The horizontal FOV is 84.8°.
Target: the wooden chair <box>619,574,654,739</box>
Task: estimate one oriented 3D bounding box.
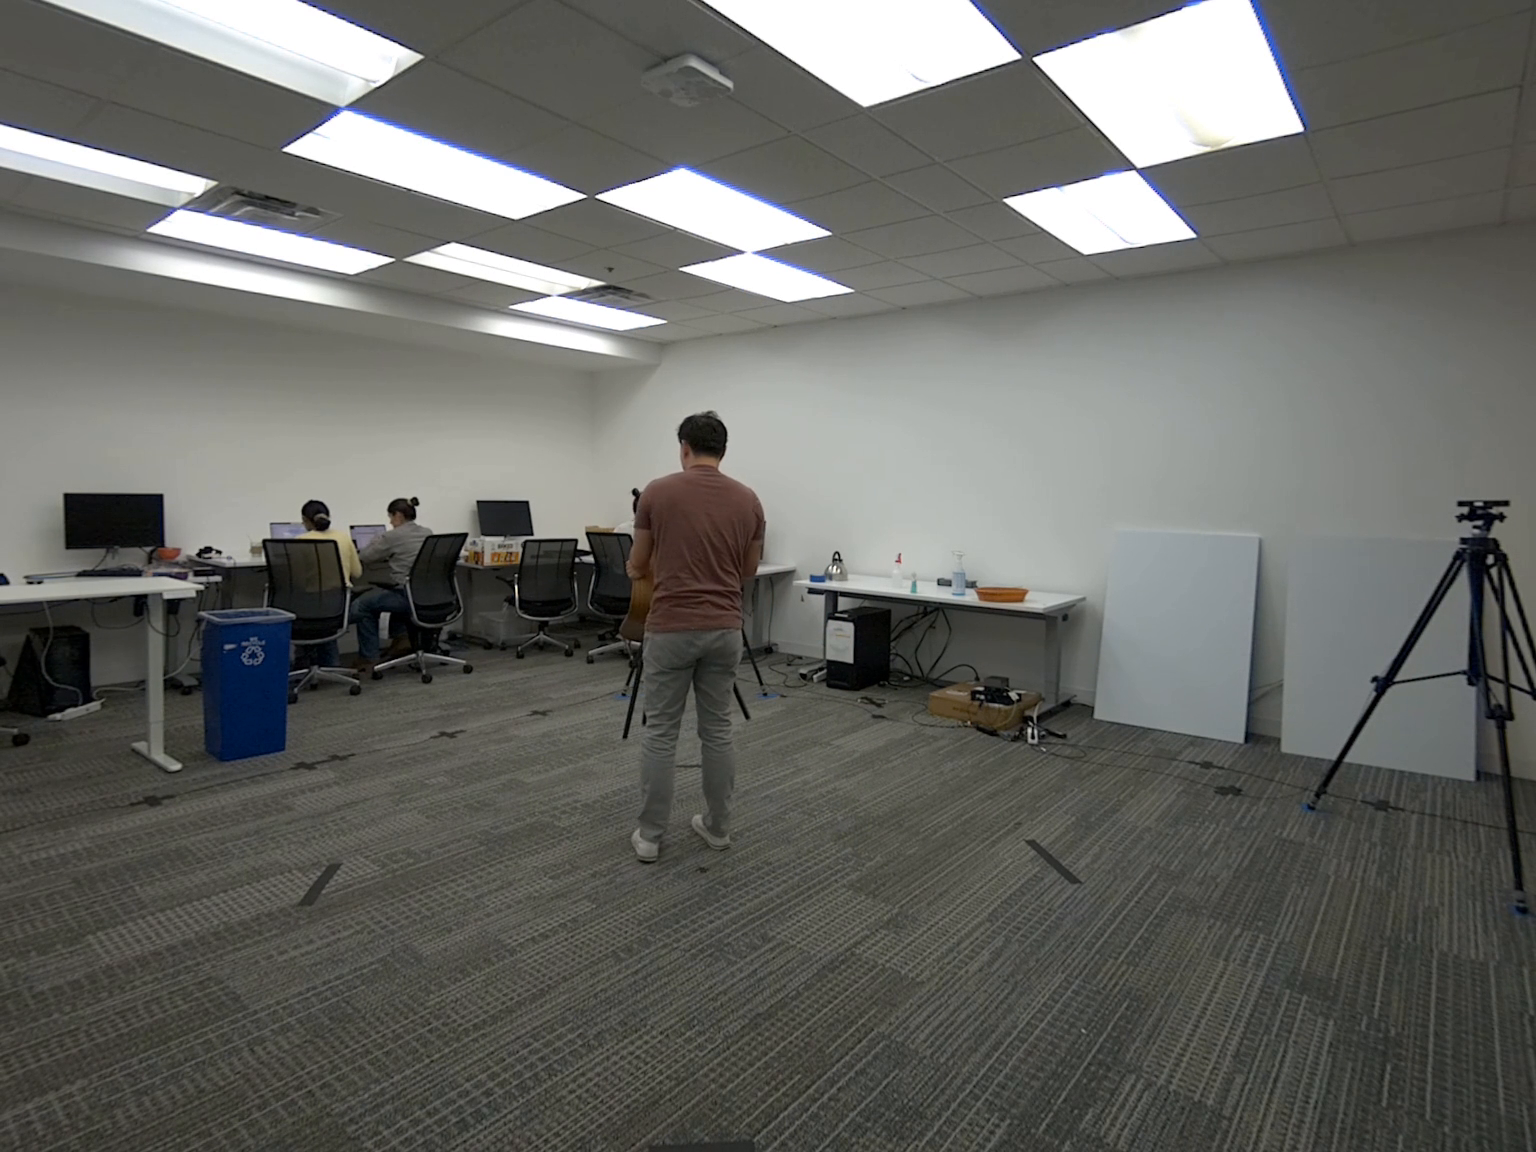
[{"bbox_3d":[-0.421,0.246,3.735,0.470,0.891,0.524,0,-15,-17],"label":"wooden chair"}]
